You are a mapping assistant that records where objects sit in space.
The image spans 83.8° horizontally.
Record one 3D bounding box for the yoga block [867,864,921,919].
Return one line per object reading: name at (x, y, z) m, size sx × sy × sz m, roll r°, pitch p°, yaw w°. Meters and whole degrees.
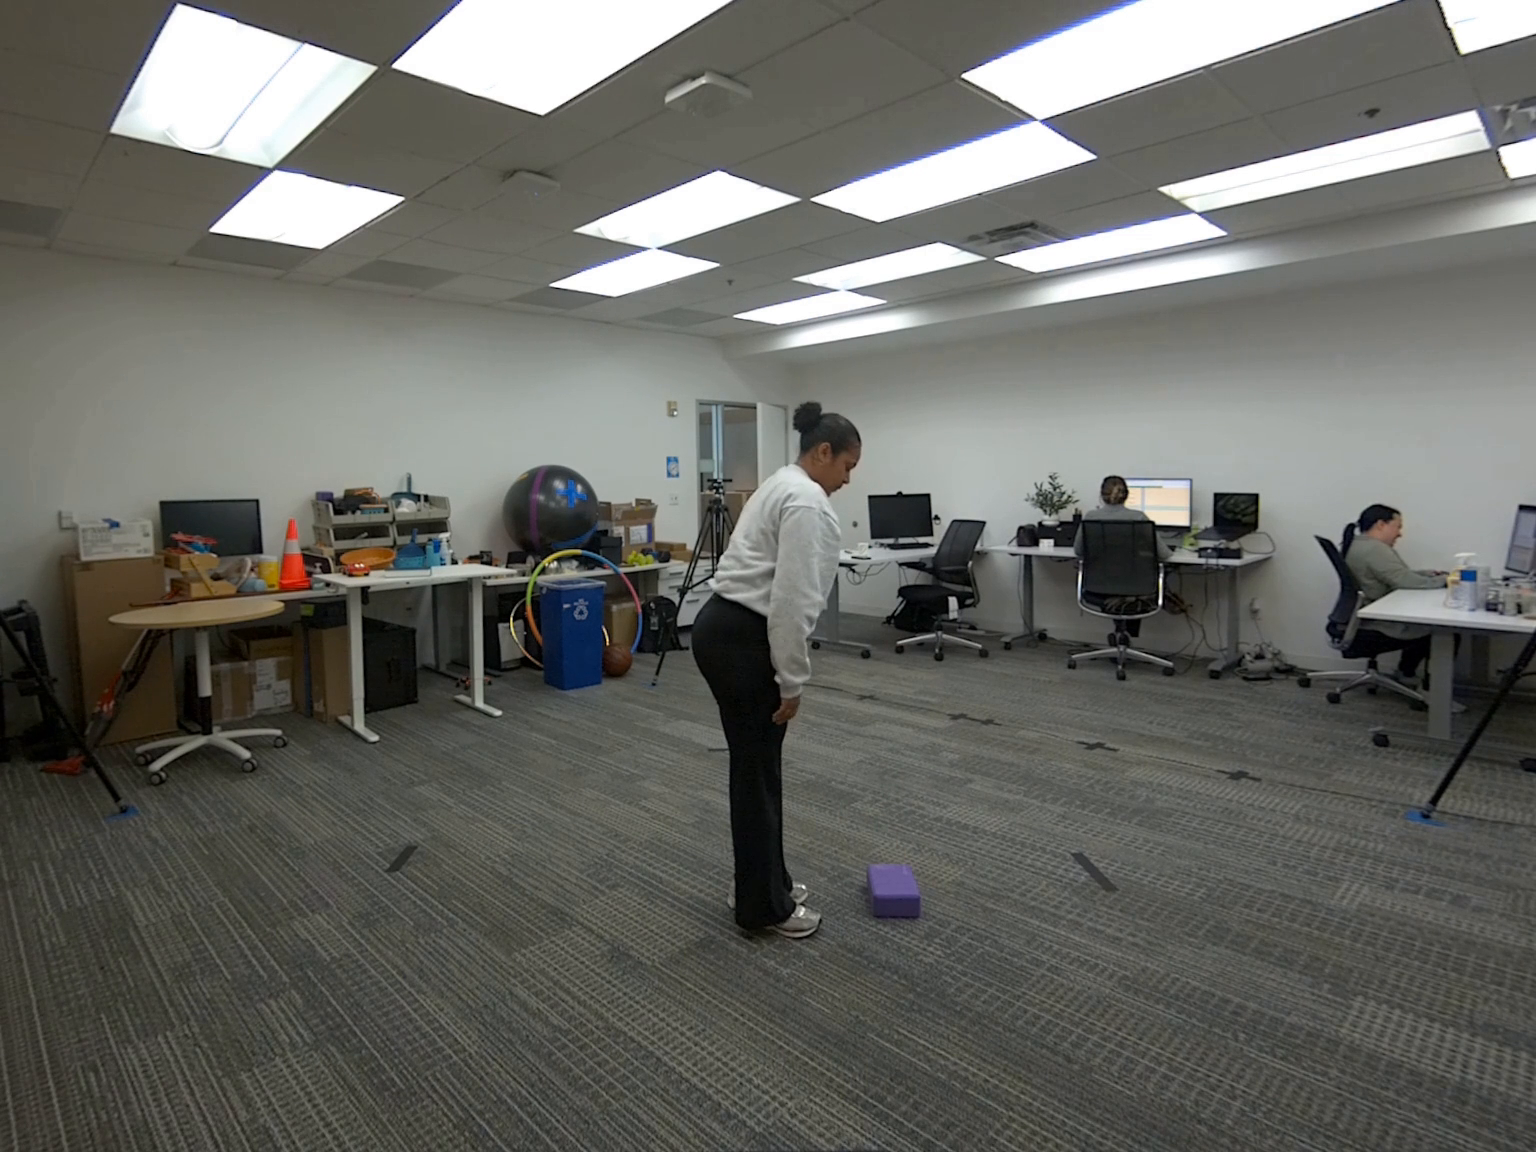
yoga block at (0.415, 1.033, 2.809) m, size 0.149 × 0.076 × 0.229 m, roll -1°, pitch 6°, yaw 3°
